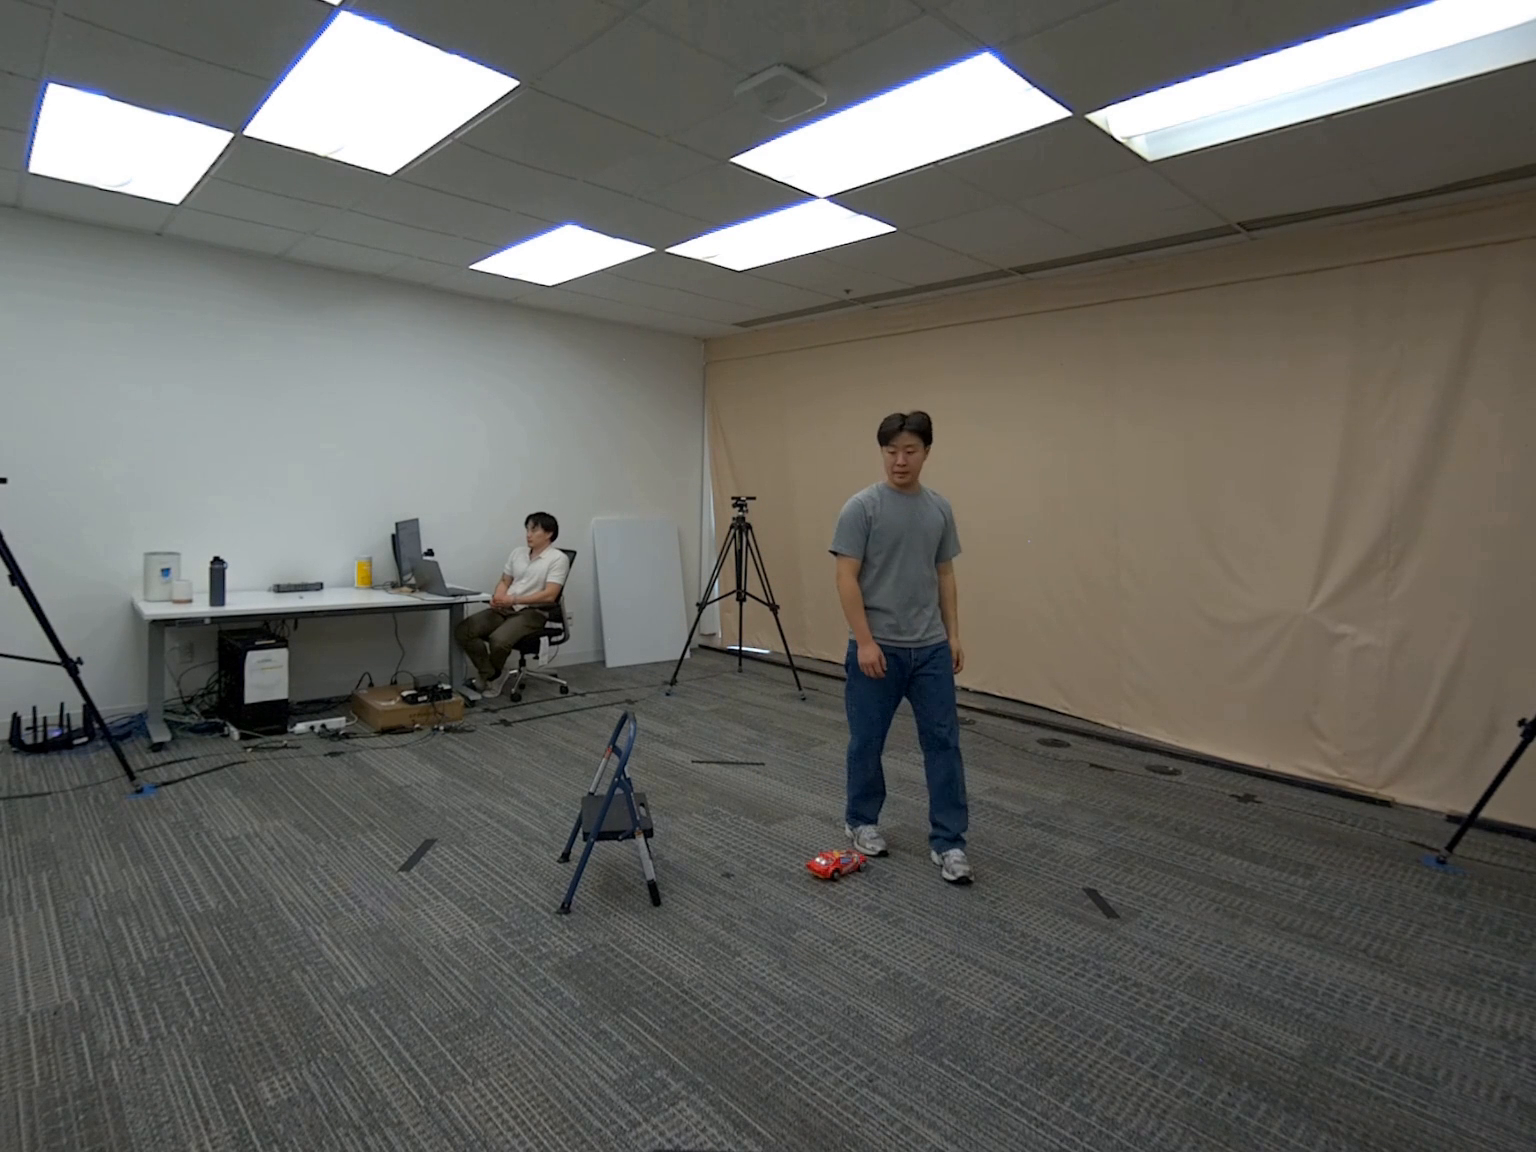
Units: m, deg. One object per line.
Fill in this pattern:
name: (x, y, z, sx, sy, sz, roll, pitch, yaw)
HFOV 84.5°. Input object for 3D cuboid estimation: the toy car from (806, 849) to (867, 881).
toy car: (0.247, 1.079, 3.144, 0.248, 0.083, 0.133, 12, -3, -38)
